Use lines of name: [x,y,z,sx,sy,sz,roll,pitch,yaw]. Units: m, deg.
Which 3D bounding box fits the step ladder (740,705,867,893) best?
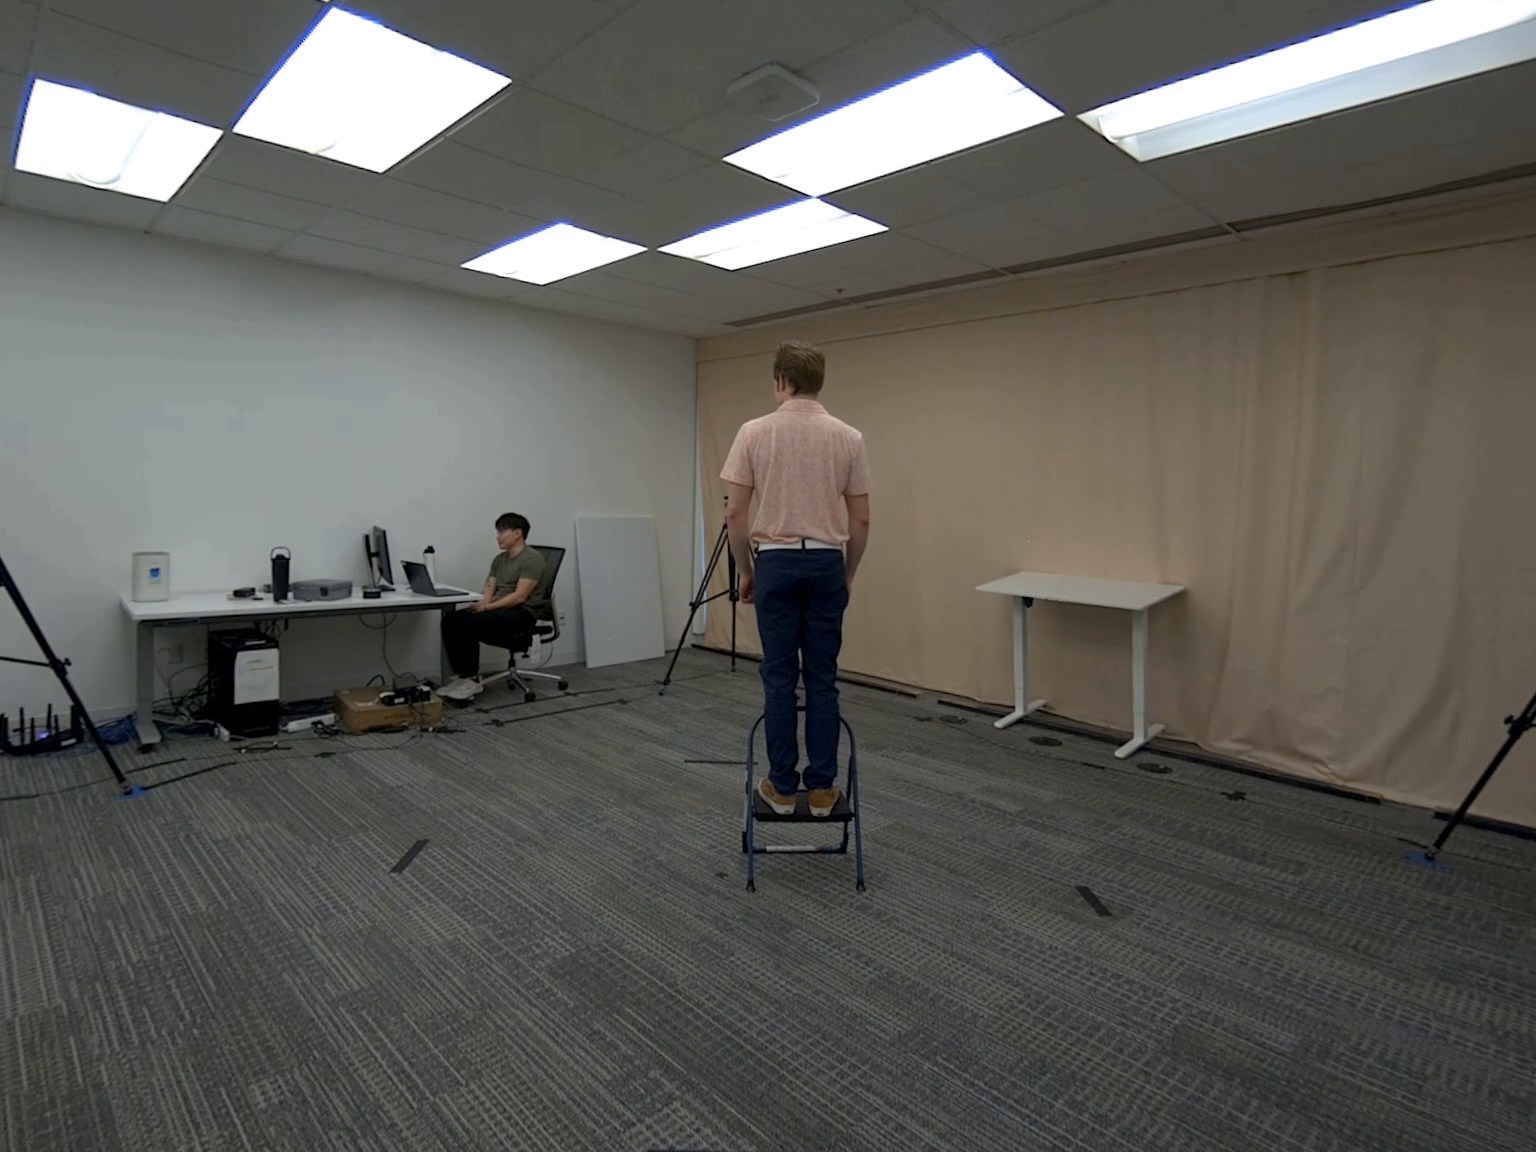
step ladder: [0.122,0.807,3.149,0.429,0.604,0.351,1,4,-5]
